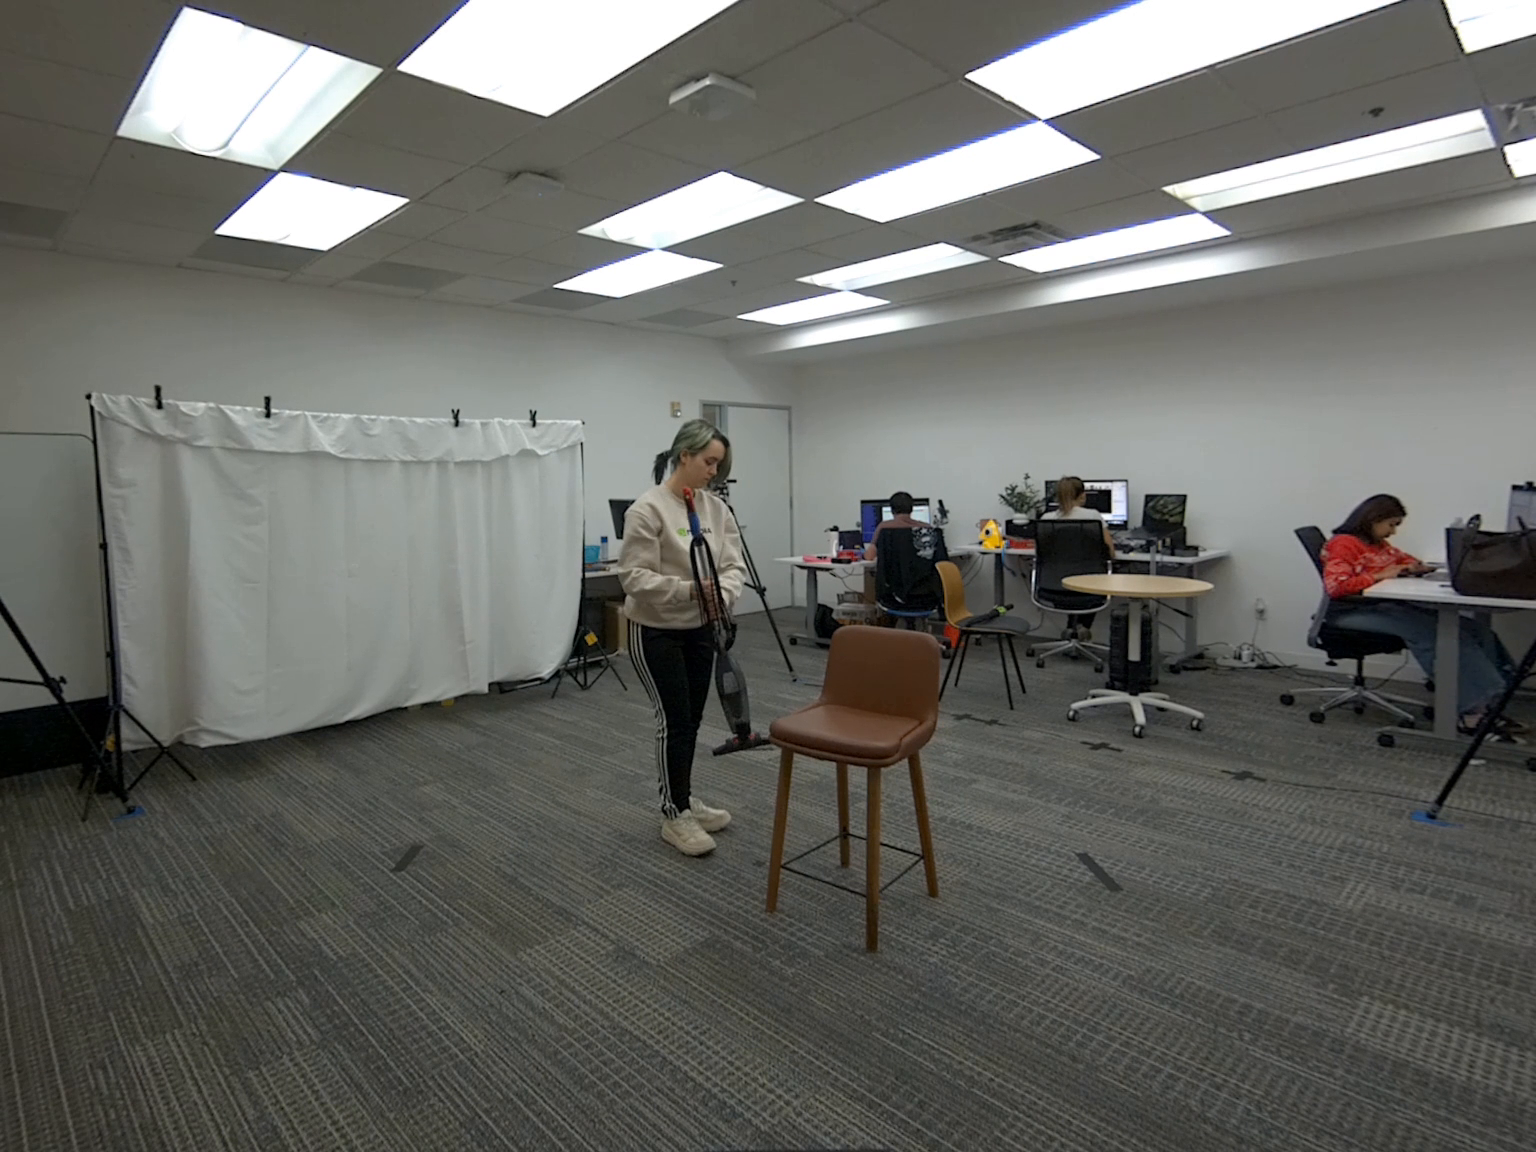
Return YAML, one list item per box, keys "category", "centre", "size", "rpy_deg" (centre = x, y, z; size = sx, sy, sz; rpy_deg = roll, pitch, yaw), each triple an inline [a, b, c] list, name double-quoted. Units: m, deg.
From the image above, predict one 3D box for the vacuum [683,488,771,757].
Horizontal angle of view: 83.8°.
- category: "vacuum"
  centre: [-0.171, 0.178, 3.065]
  size: [0.250, 1.025, 0.149]
  rpy_deg: [-15, 25, -15]
